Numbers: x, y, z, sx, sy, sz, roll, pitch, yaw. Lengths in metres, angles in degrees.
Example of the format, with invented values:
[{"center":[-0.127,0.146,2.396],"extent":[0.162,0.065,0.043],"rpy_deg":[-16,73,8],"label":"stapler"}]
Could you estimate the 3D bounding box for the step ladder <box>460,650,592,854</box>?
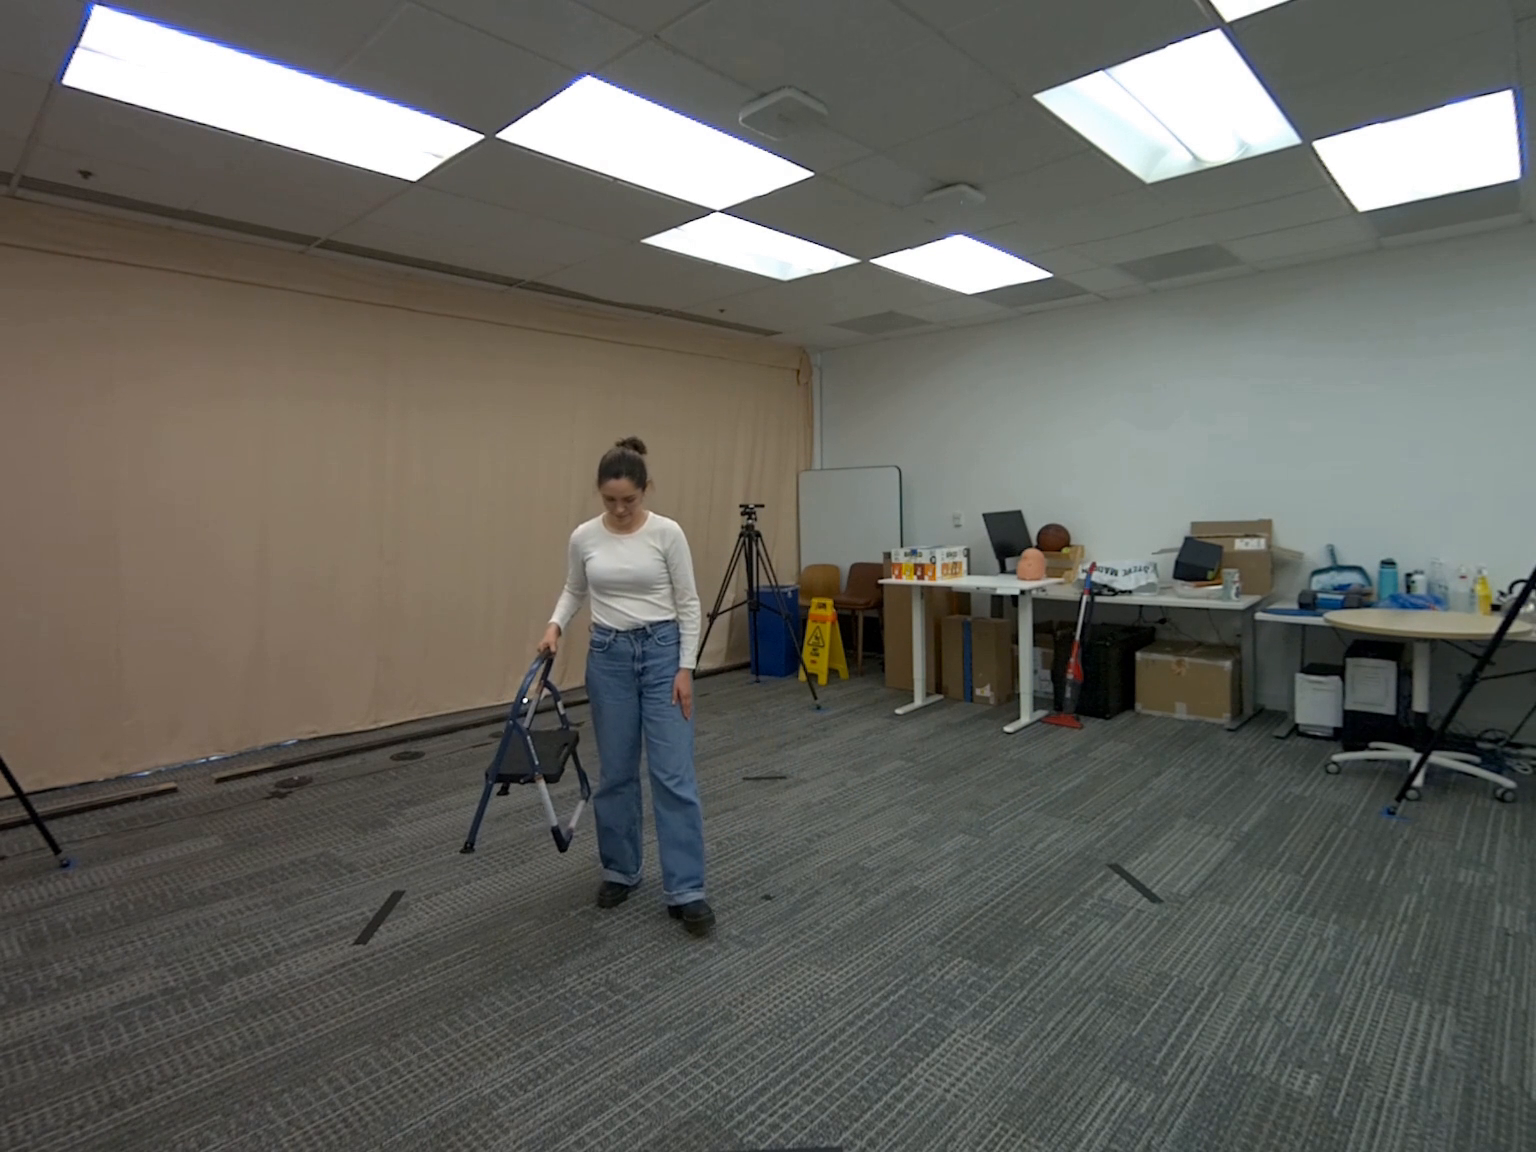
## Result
[{"center":[-0.812,0.559,2.846],"extent":[0.350,0.602,0.433],"rpy_deg":[1,11,0],"label":"step ladder"}]
